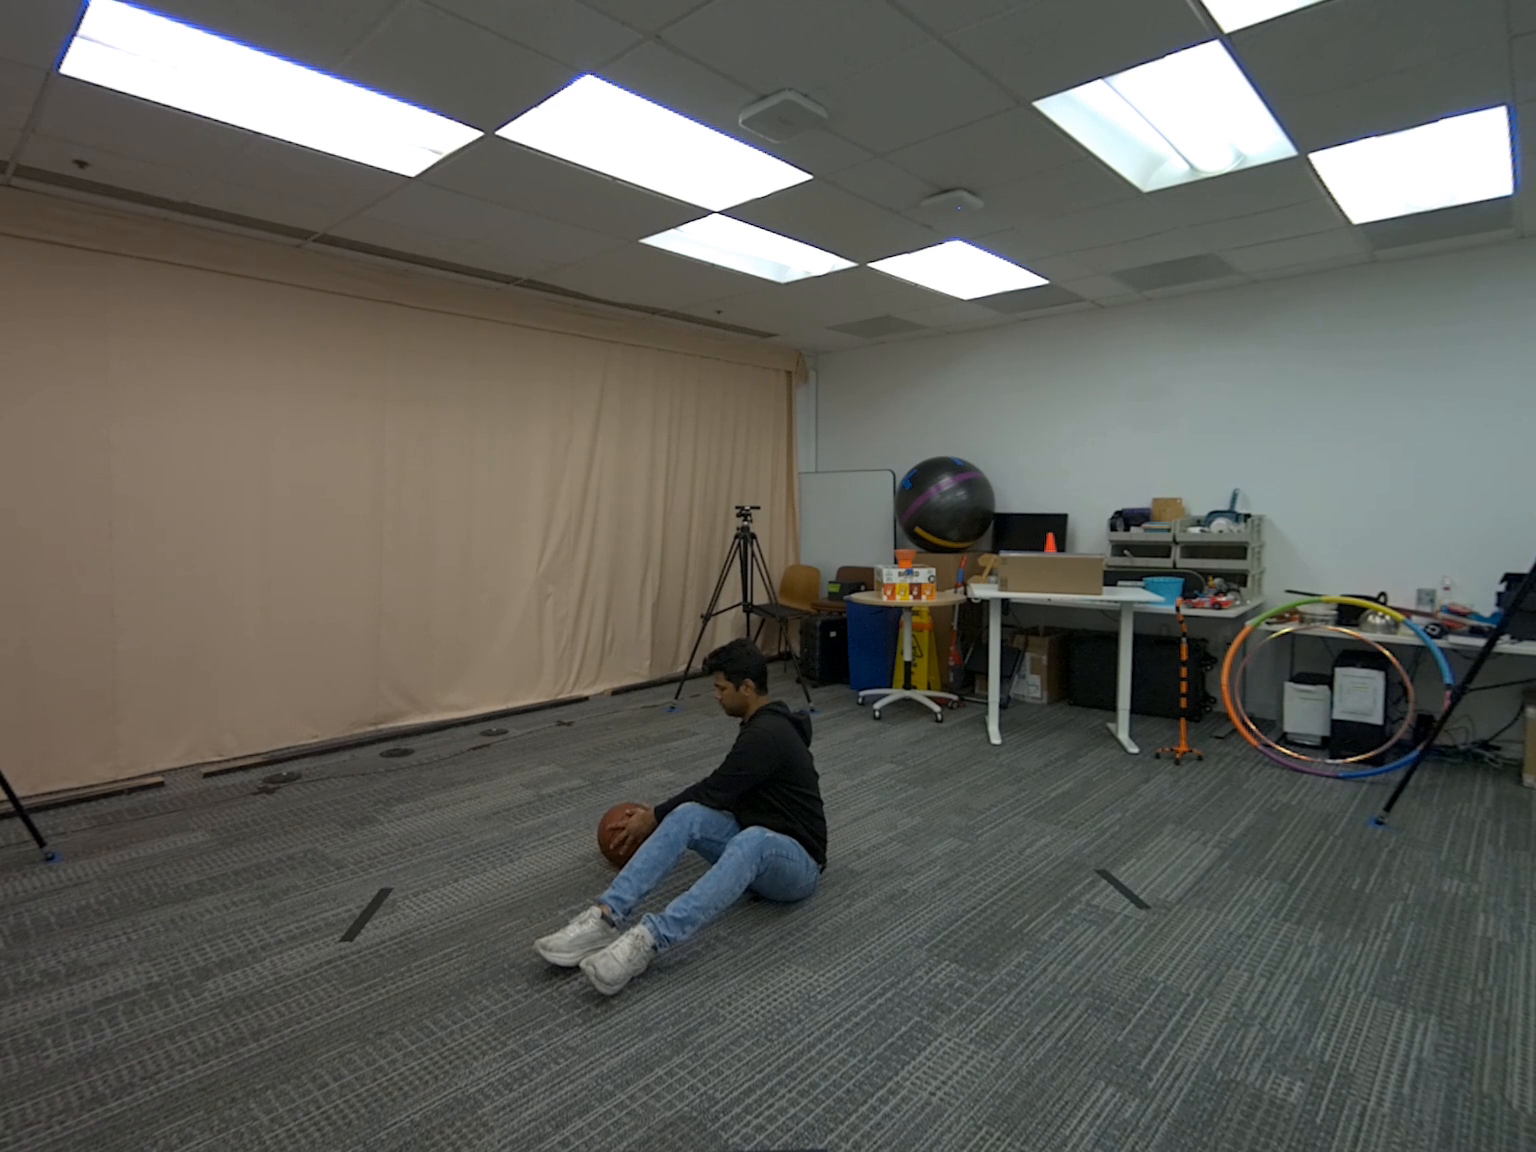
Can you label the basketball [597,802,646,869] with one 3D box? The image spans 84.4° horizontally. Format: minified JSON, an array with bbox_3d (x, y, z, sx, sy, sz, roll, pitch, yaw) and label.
[{"bbox_3d":[-0.546,1.005,3.270,0.236,0.235,0.237,0,4,-2],"label":"basketball"}]
